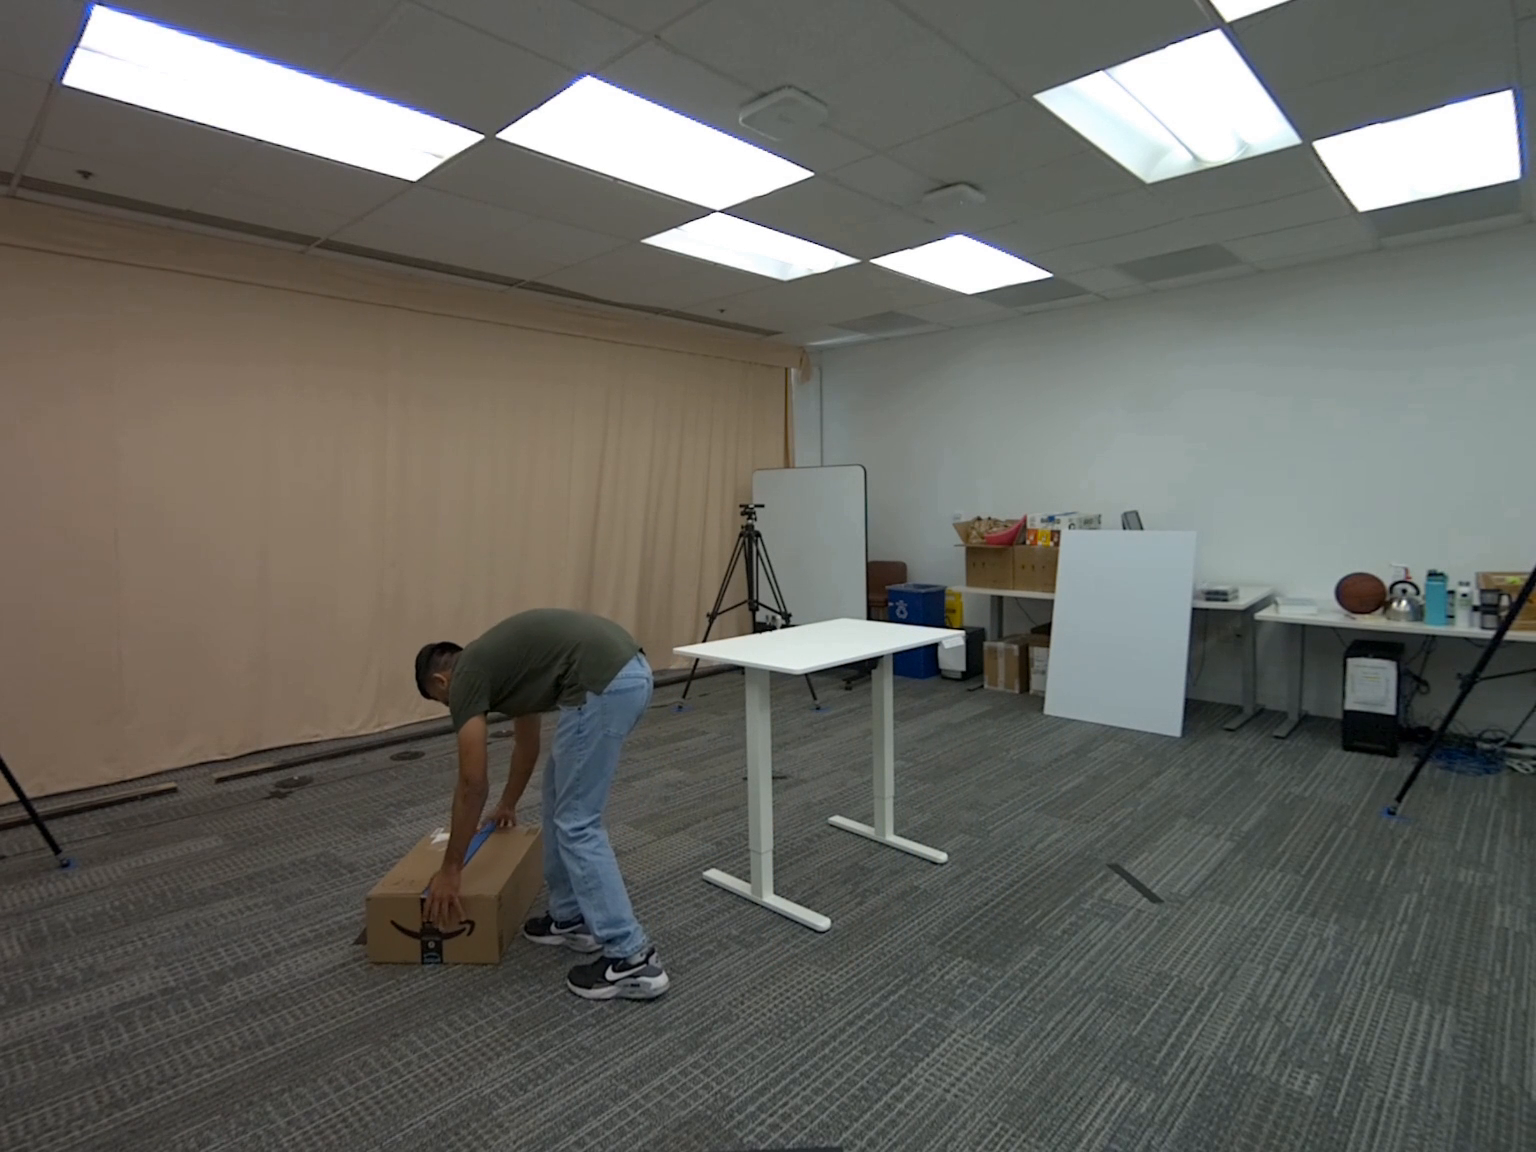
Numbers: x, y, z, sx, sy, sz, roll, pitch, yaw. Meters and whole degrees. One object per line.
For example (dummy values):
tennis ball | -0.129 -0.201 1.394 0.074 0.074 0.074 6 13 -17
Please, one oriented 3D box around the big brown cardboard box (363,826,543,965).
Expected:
big brown cardboard box | -1.027 1.051 2.871 0.418 0.232 0.590 -1 5 -1
